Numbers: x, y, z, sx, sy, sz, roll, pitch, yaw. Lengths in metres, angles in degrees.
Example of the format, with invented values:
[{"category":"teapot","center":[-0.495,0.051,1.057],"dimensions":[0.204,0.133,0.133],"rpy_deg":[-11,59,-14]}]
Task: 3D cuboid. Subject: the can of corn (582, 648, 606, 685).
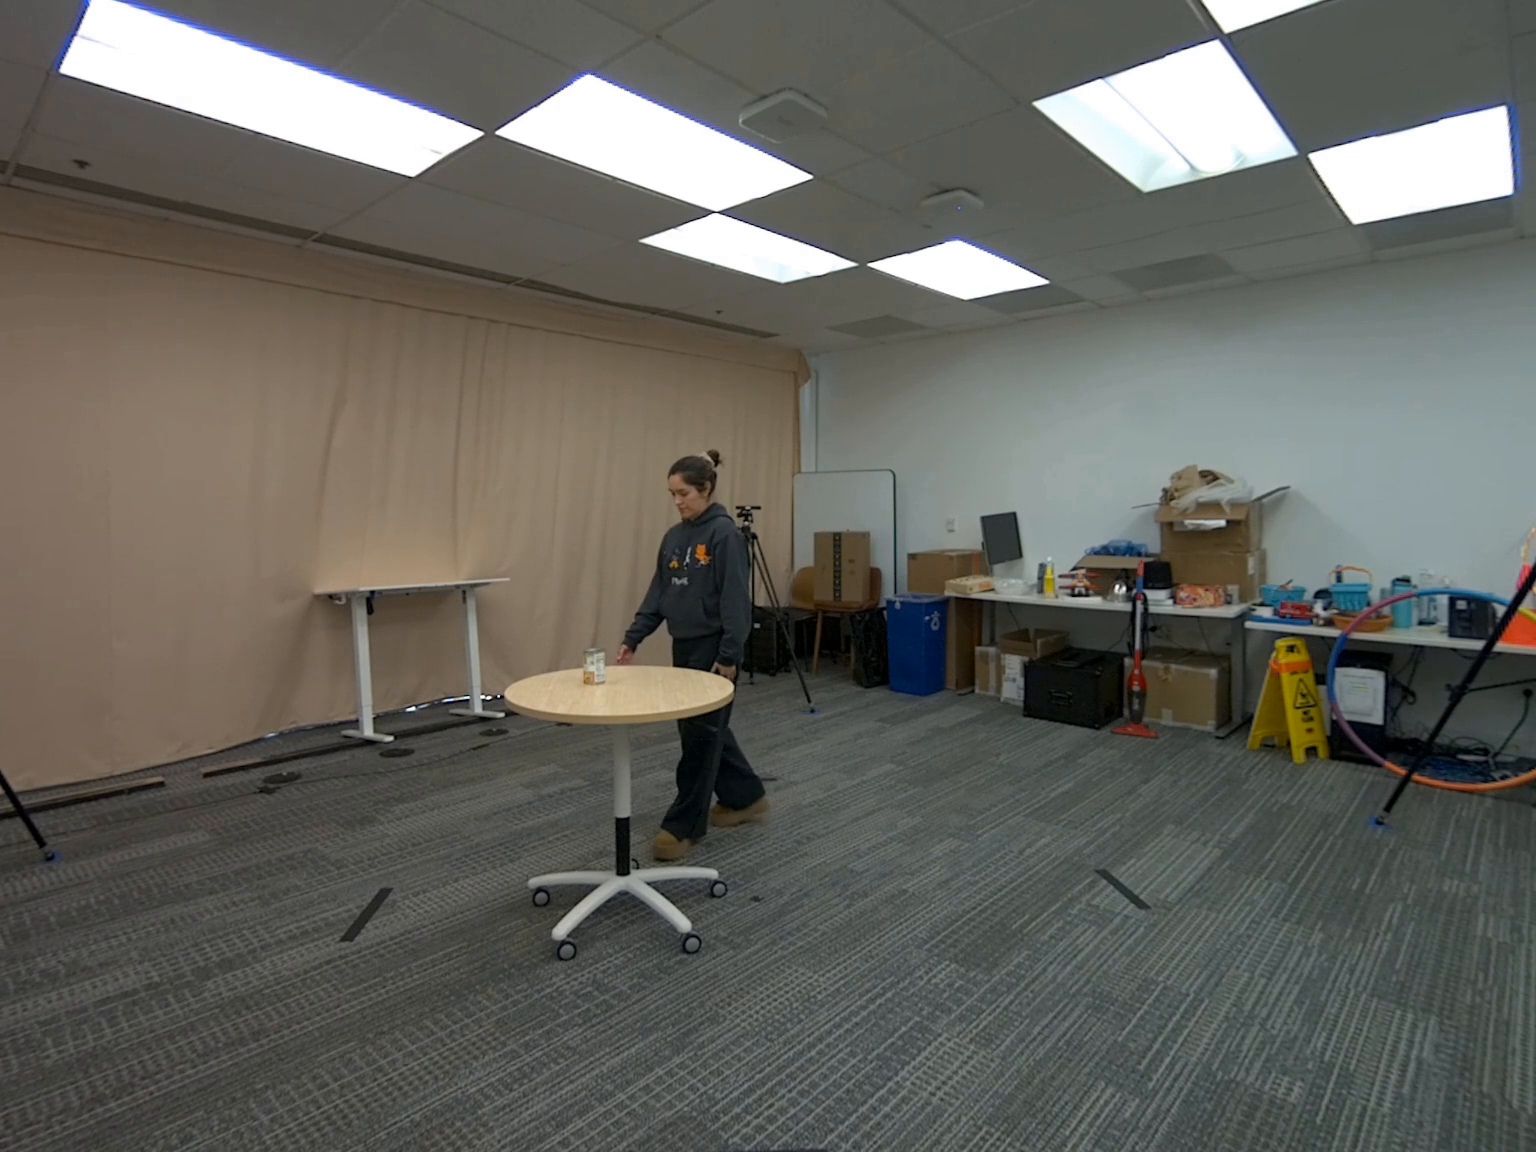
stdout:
[{"category":"can of corn","center":[-0.598,0.322,2.925],"dimensions":[0.074,0.111,0.074],"rpy_deg":[-3,-1,-2]}]
